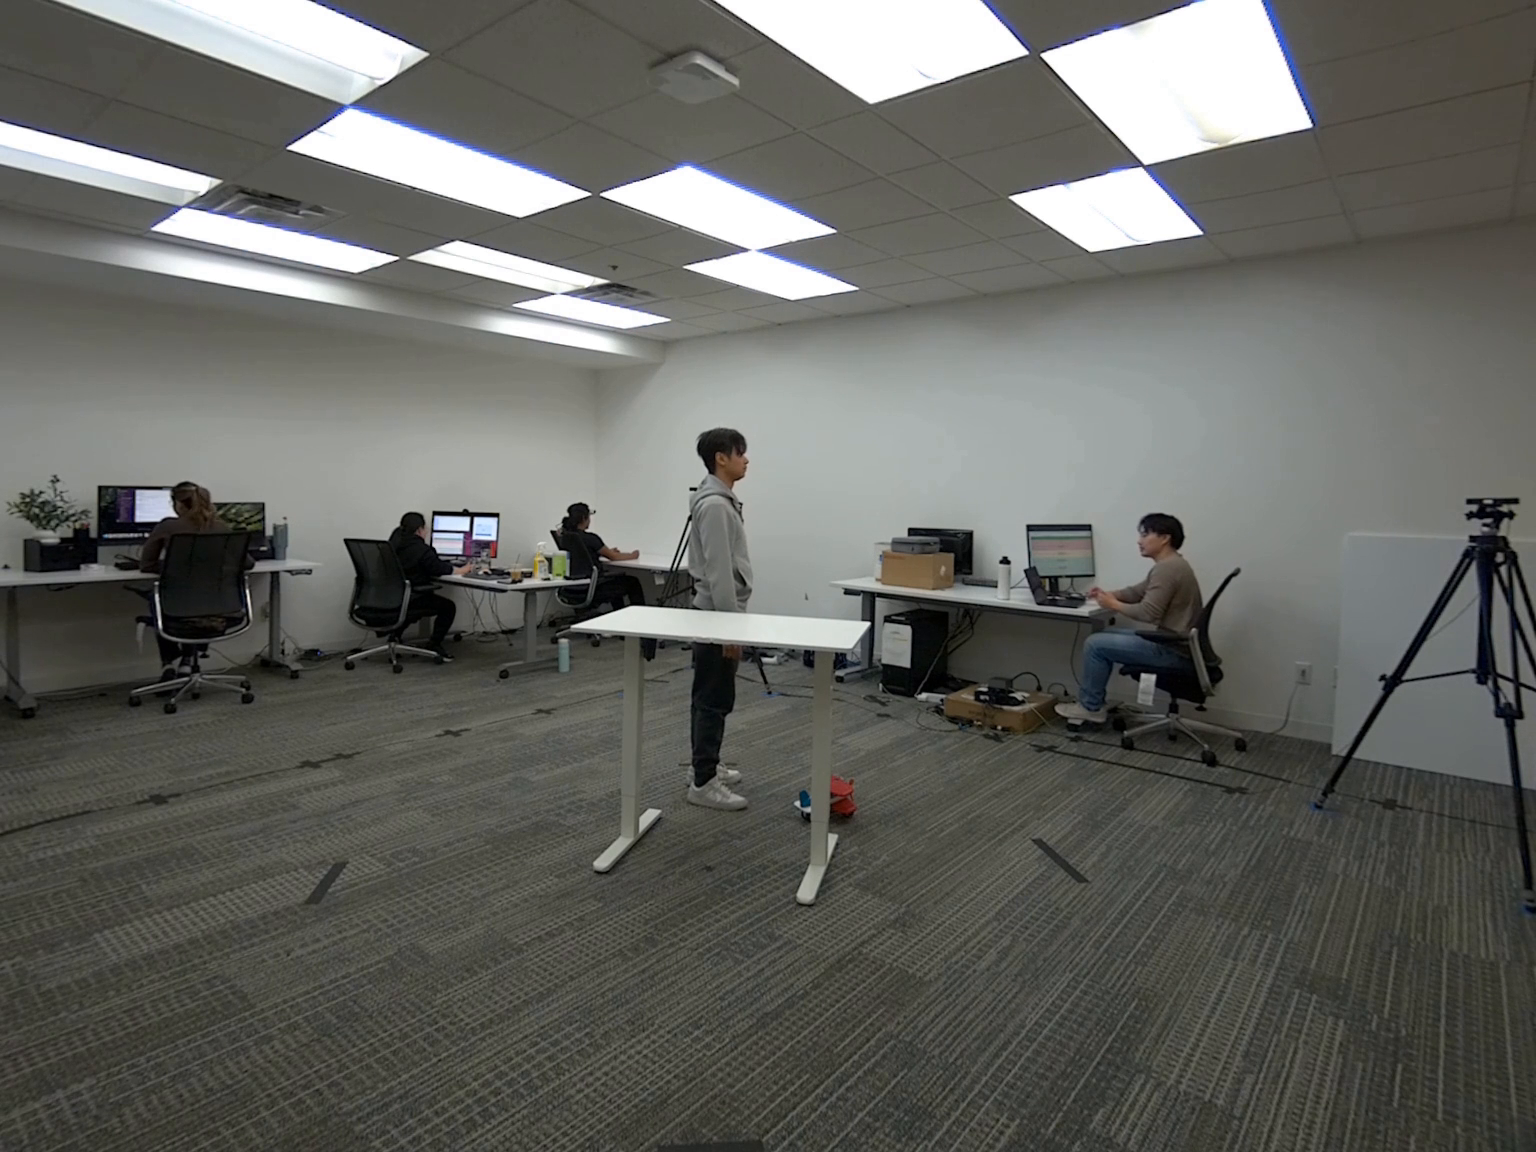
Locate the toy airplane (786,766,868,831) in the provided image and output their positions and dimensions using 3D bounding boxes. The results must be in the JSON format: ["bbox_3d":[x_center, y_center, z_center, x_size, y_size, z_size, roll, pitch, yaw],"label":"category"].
[{"bbox_3d":[0.254,0.949,3.618,0.259,0.156,0.252,3,4,33],"label":"toy airplane"}]
